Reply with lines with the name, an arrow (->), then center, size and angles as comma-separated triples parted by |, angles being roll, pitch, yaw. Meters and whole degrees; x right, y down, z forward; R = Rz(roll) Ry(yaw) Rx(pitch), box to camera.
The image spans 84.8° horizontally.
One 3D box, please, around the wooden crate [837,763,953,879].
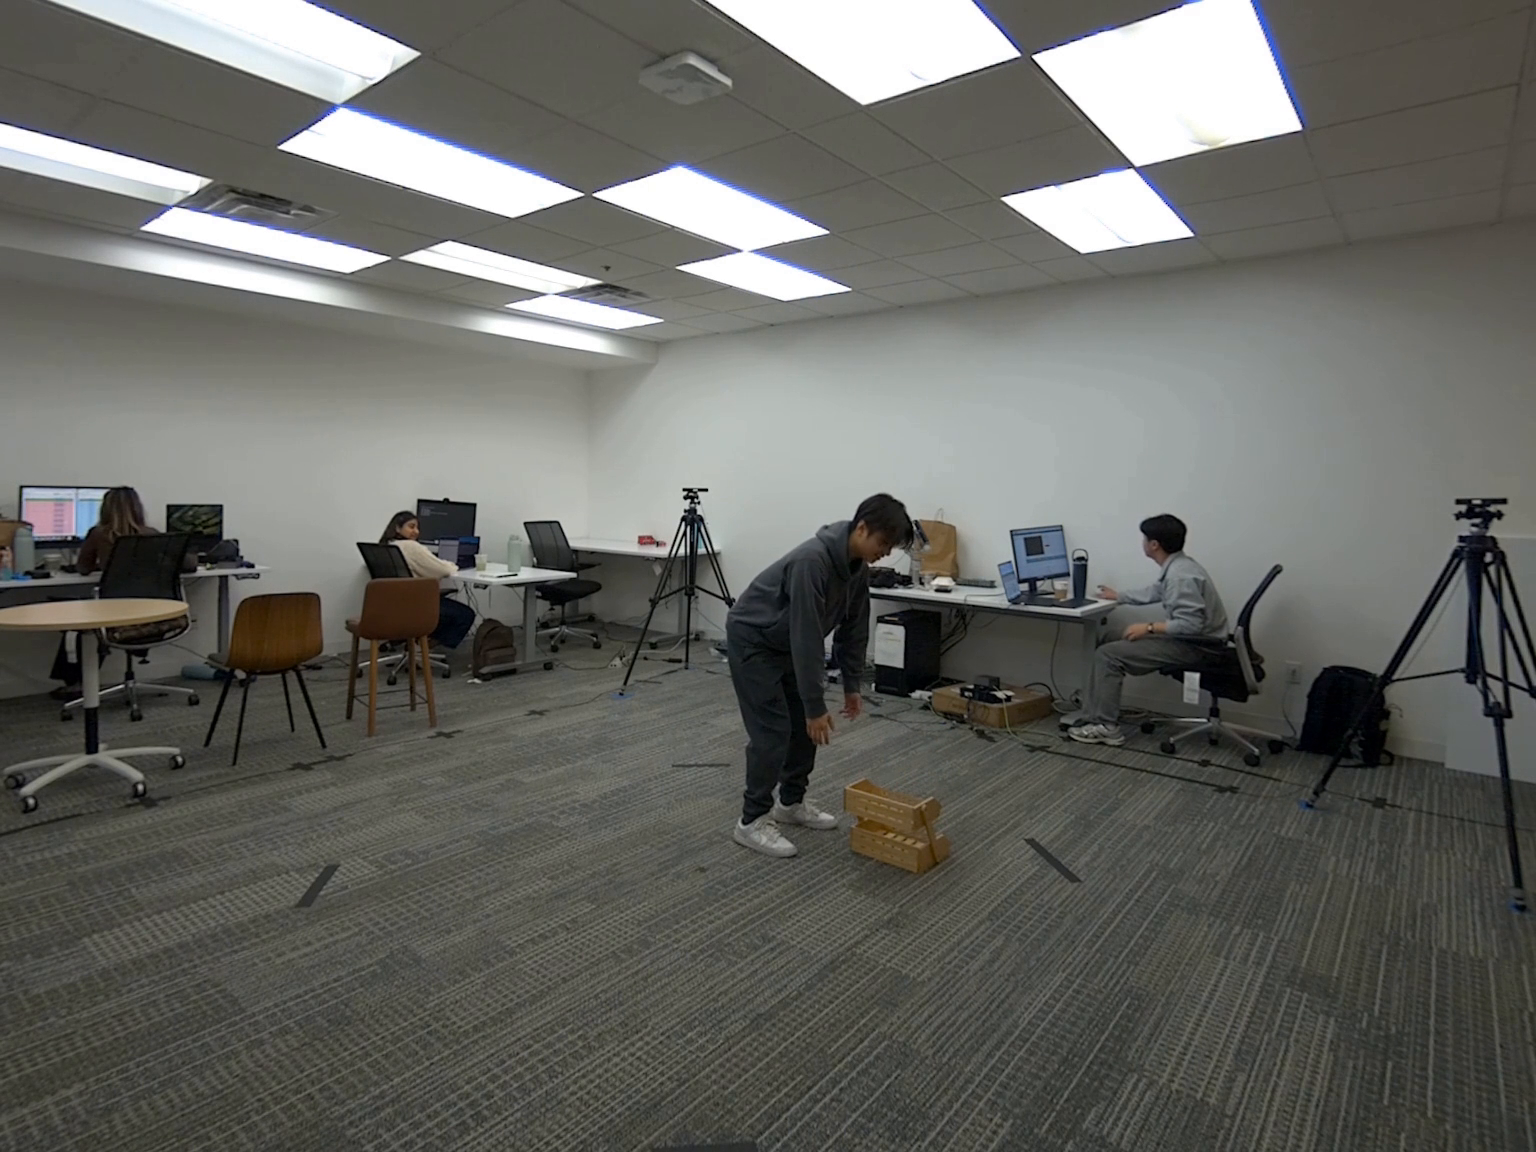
wooden crate -> 0.490, 0.935, 3.264 | 0.335, 0.272, 0.293 | 5, 7, 39
